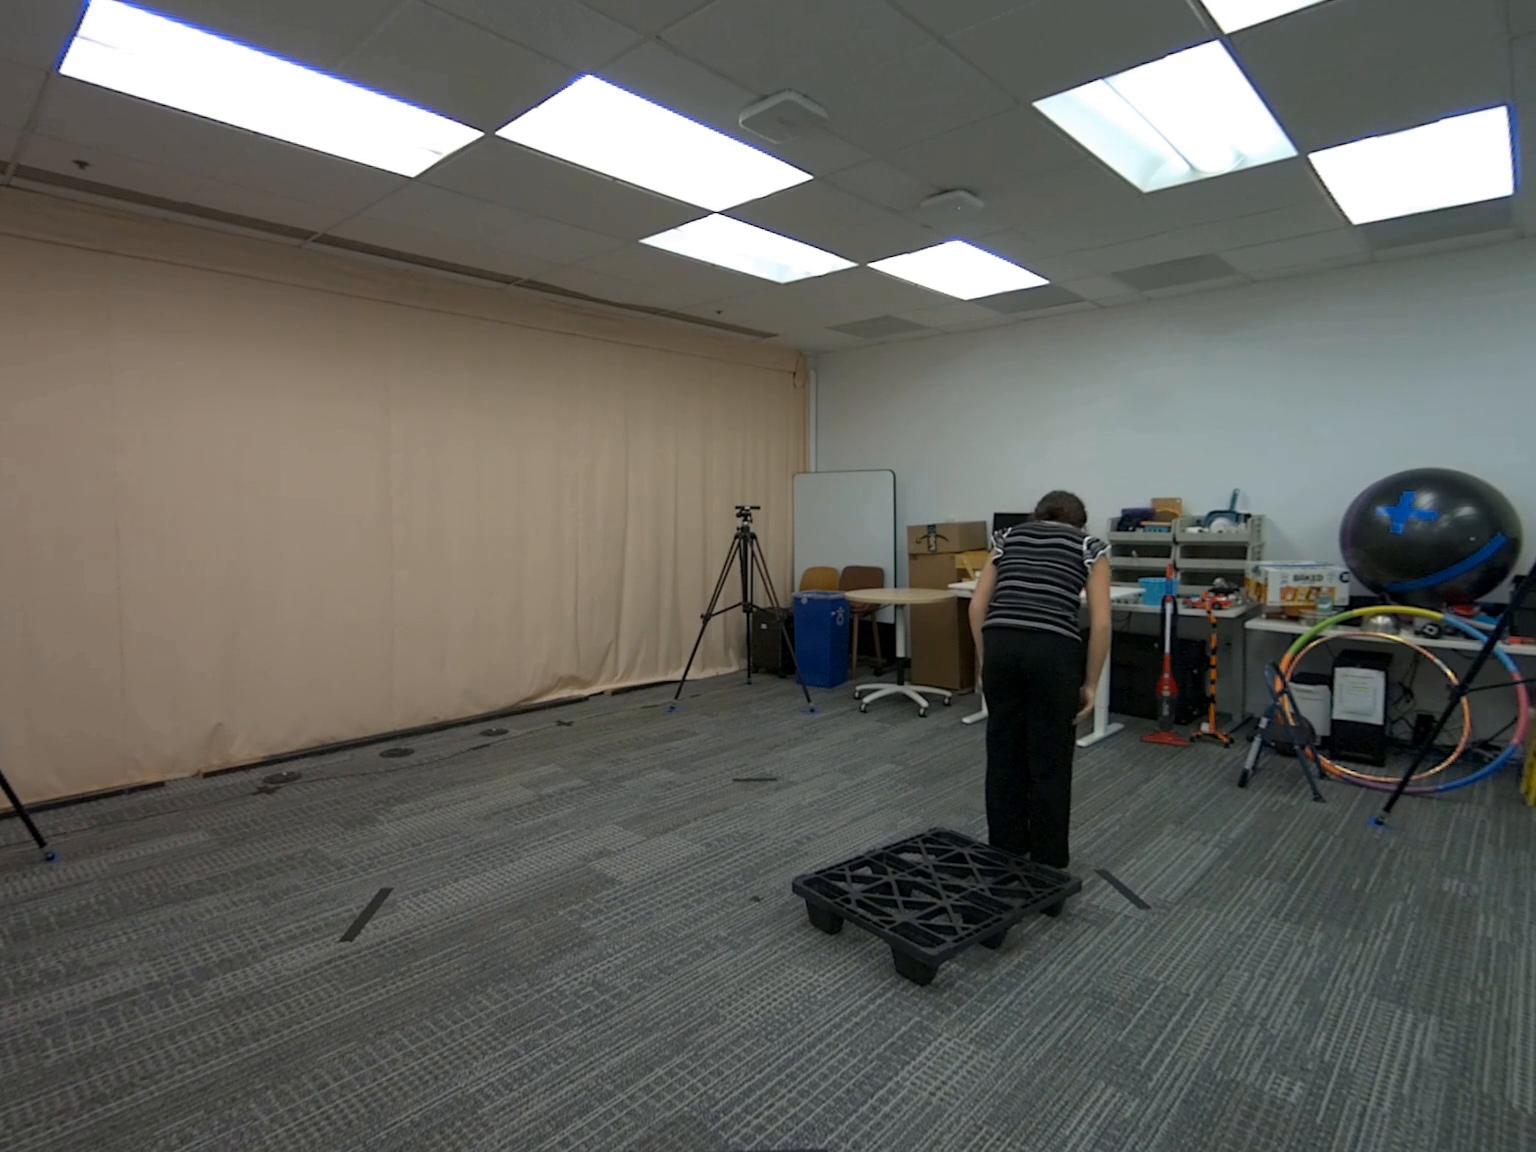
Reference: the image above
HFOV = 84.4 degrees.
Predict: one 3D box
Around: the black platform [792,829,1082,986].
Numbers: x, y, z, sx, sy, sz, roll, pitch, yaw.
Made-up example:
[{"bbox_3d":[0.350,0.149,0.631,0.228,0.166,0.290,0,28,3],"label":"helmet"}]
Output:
[{"bbox_3d":[0.576,1.089,2.829,0.781,0.143,0.625,-4,7,-39],"label":"black platform"}]
